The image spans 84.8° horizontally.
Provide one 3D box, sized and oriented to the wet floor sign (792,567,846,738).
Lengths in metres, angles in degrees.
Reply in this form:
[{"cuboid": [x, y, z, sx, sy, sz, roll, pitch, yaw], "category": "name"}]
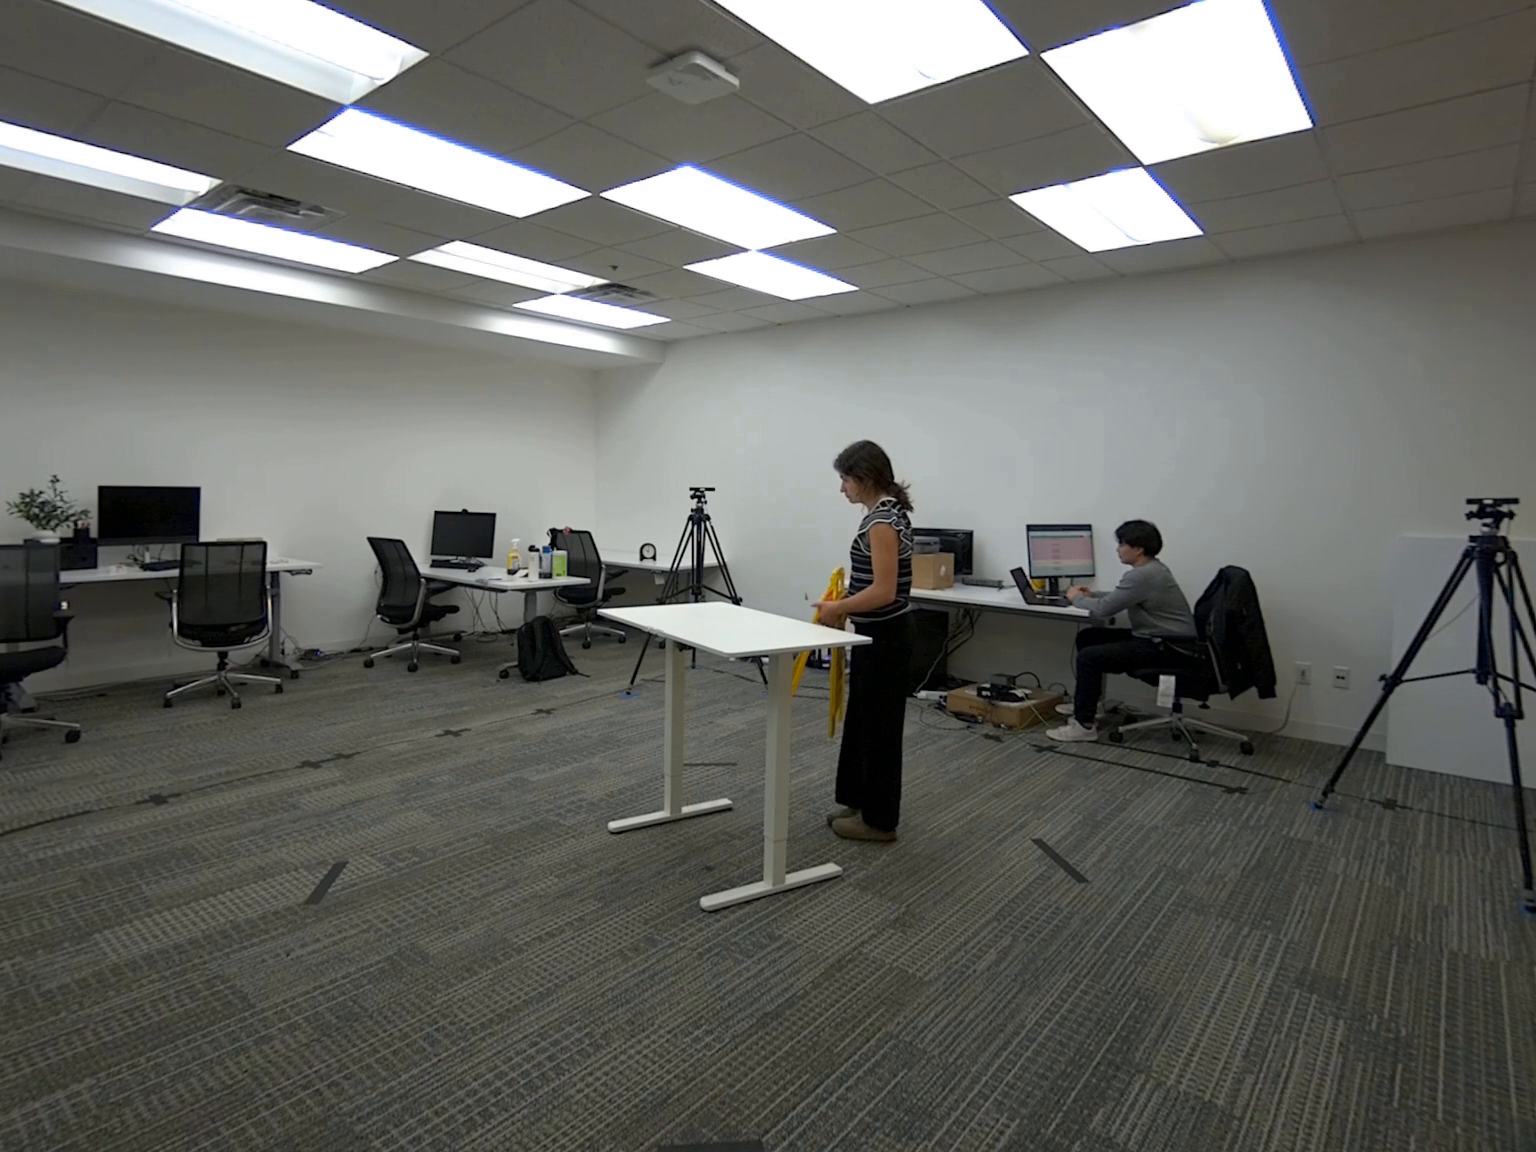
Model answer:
[{"cuboid": [0.223, 0.281, 3.499, 0.295, 0.641, 0.279, 13, 10, 13], "category": "wet floor sign"}]
